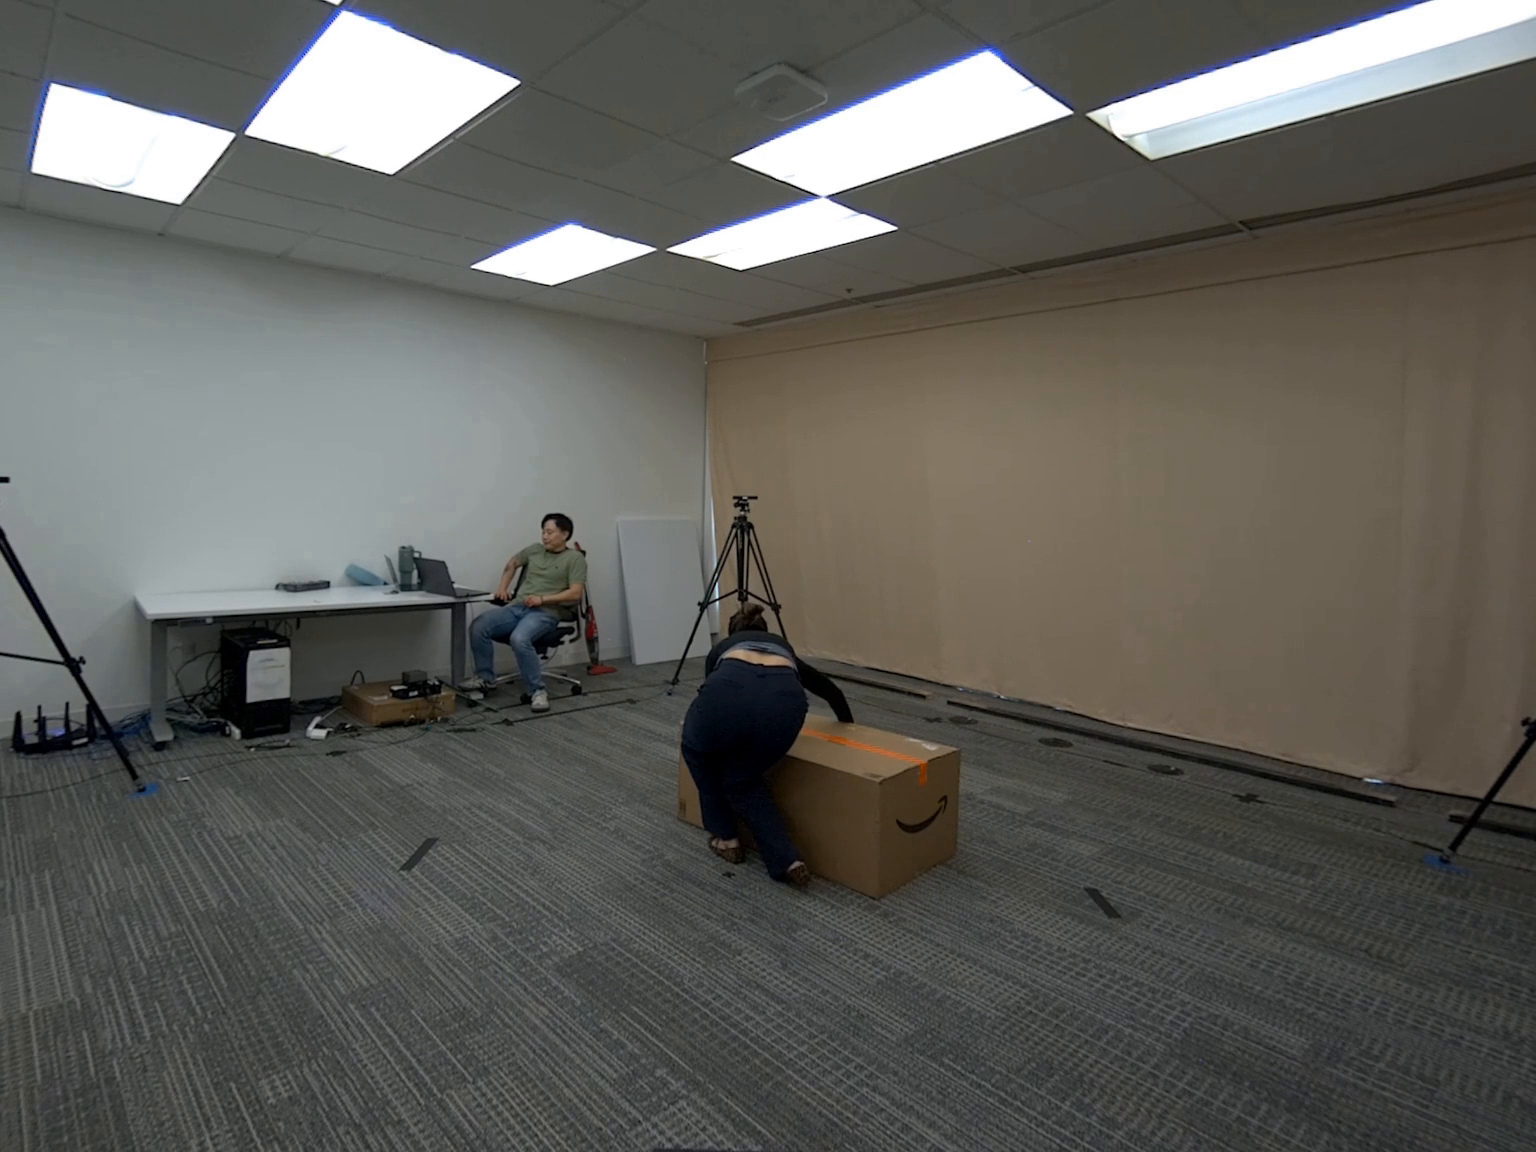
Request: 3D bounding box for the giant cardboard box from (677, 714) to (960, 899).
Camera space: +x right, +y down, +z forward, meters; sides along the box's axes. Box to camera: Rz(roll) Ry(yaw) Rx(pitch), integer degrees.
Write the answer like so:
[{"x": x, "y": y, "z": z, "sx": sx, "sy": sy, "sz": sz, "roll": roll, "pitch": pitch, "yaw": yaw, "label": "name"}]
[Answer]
[{"x": 0.178, "y": 0.864, "z": 3.472, "sx": 1.052, "sy": 0.425, "sz": 0.564, "roll": 6, "pitch": 5, "yaw": 42, "label": "giant cardboard box"}]
